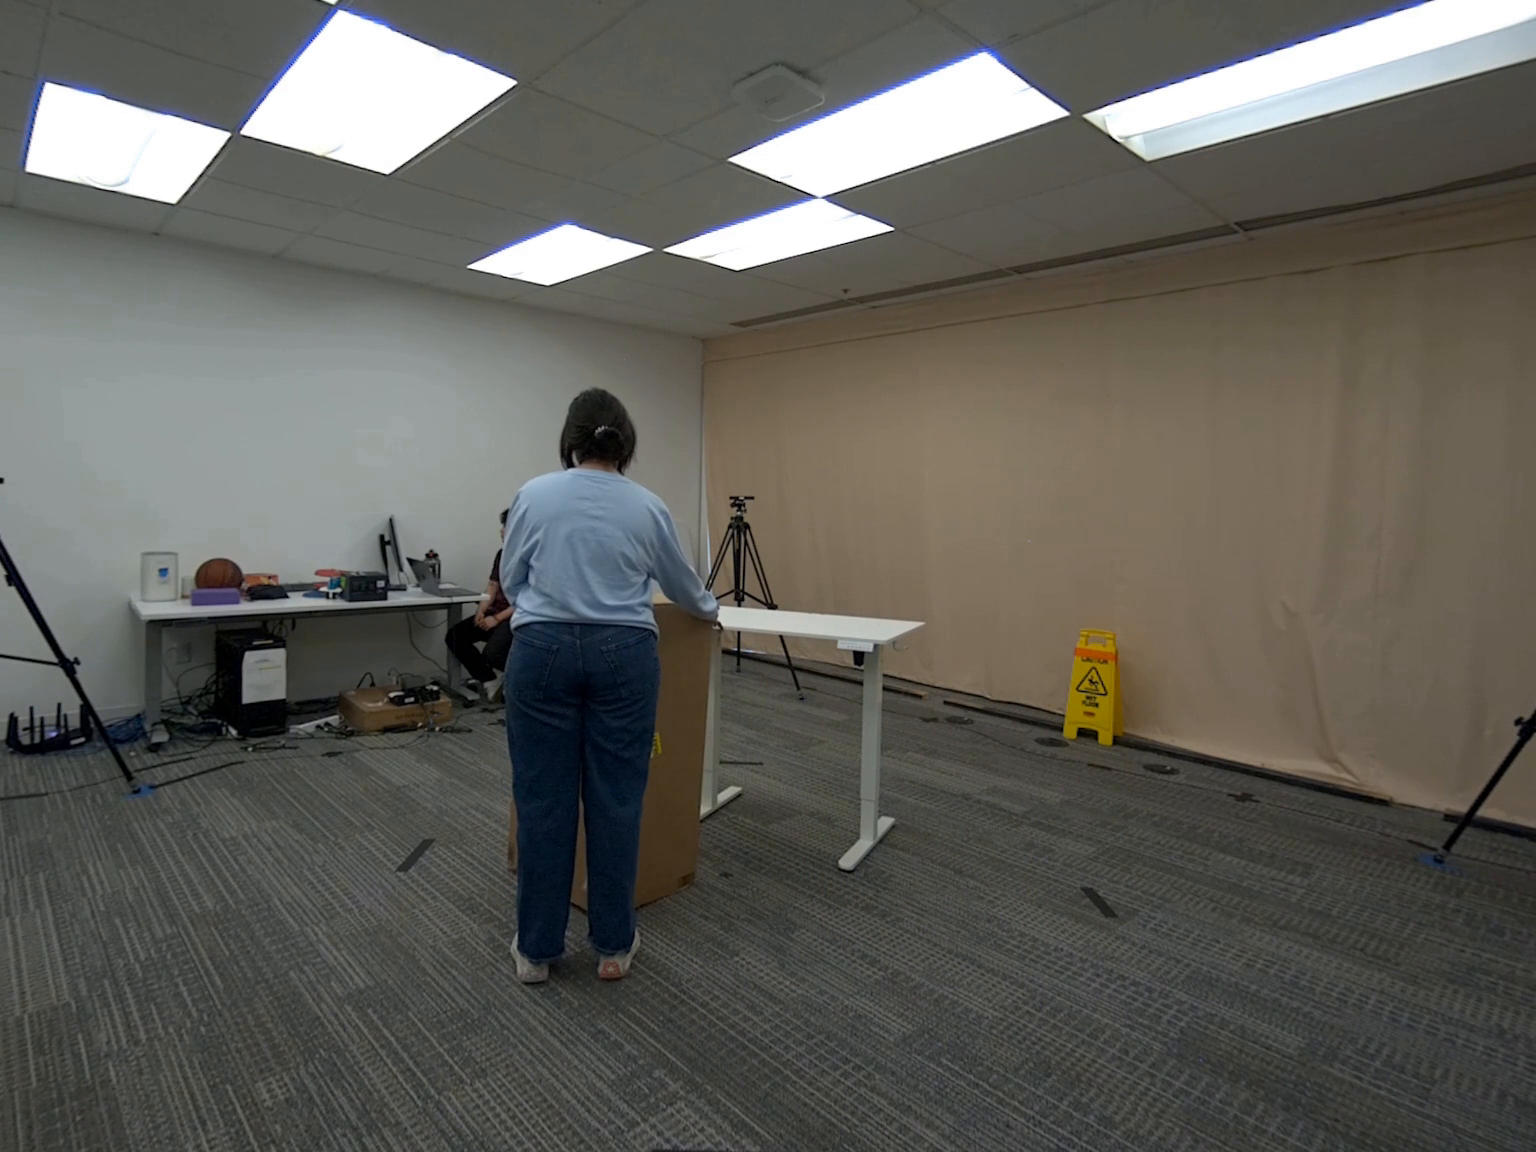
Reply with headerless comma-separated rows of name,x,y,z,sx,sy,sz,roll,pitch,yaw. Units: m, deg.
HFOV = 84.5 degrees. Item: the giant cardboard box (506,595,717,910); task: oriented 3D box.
giant cardboard box,-0.583,0.587,3.061,0.592,1.025,0.416,5,2,41
